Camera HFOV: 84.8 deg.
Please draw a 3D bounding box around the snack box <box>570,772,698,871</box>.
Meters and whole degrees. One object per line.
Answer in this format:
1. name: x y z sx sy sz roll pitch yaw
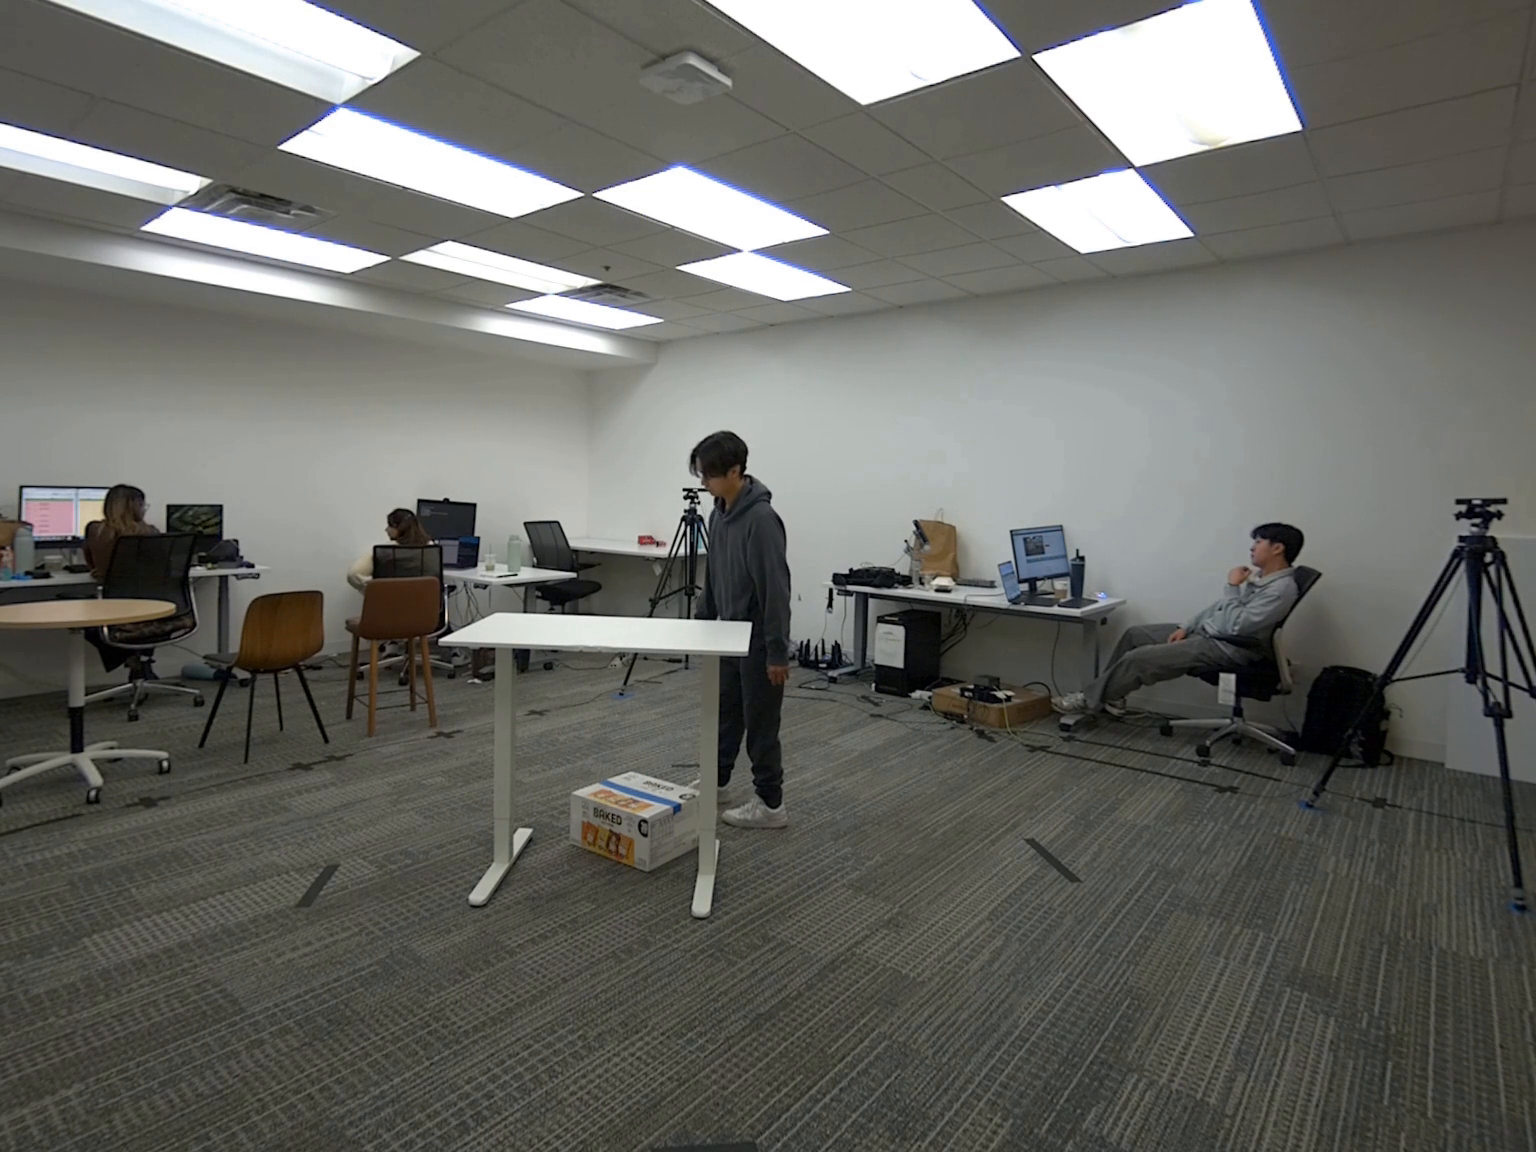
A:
1. snack box: -0.515 0.943 3.316 0.418 0.205 0.331 5 6 35
